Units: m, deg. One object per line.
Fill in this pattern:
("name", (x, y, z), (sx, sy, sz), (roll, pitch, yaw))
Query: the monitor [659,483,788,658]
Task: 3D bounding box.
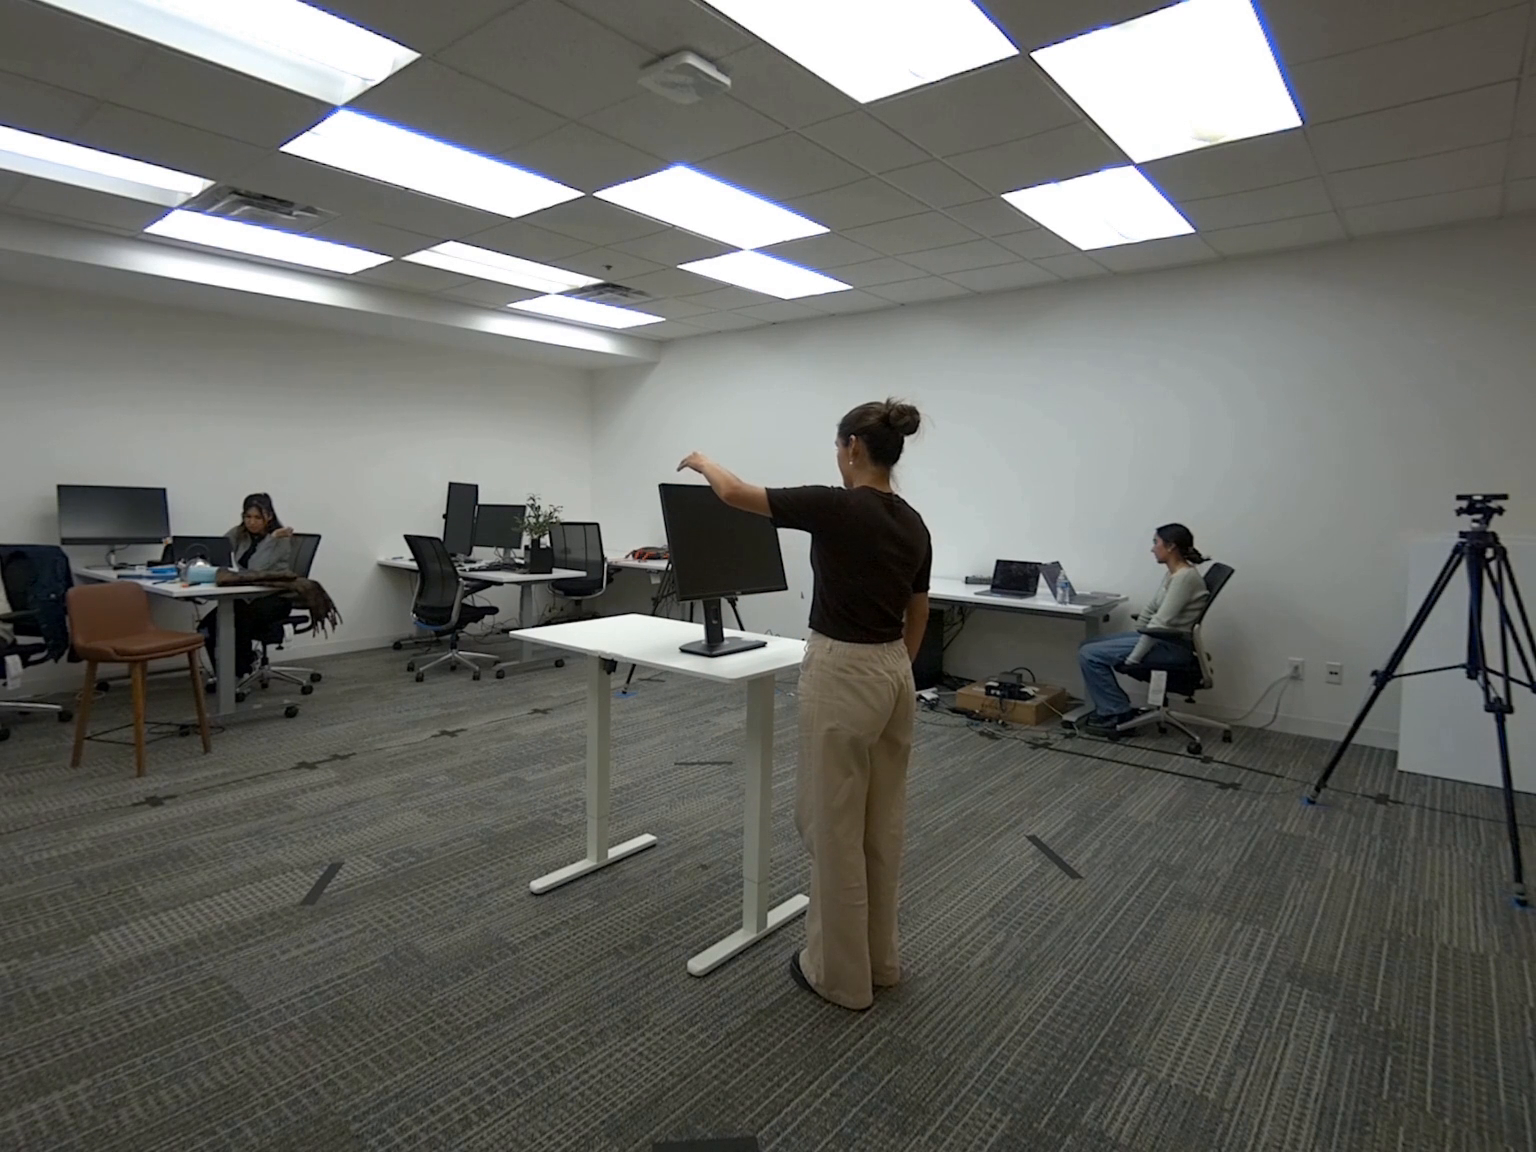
("monitor", (-0.158, -0.024, 2.686), (0.193, 0.522, 0.523), (0, 2, 36))
